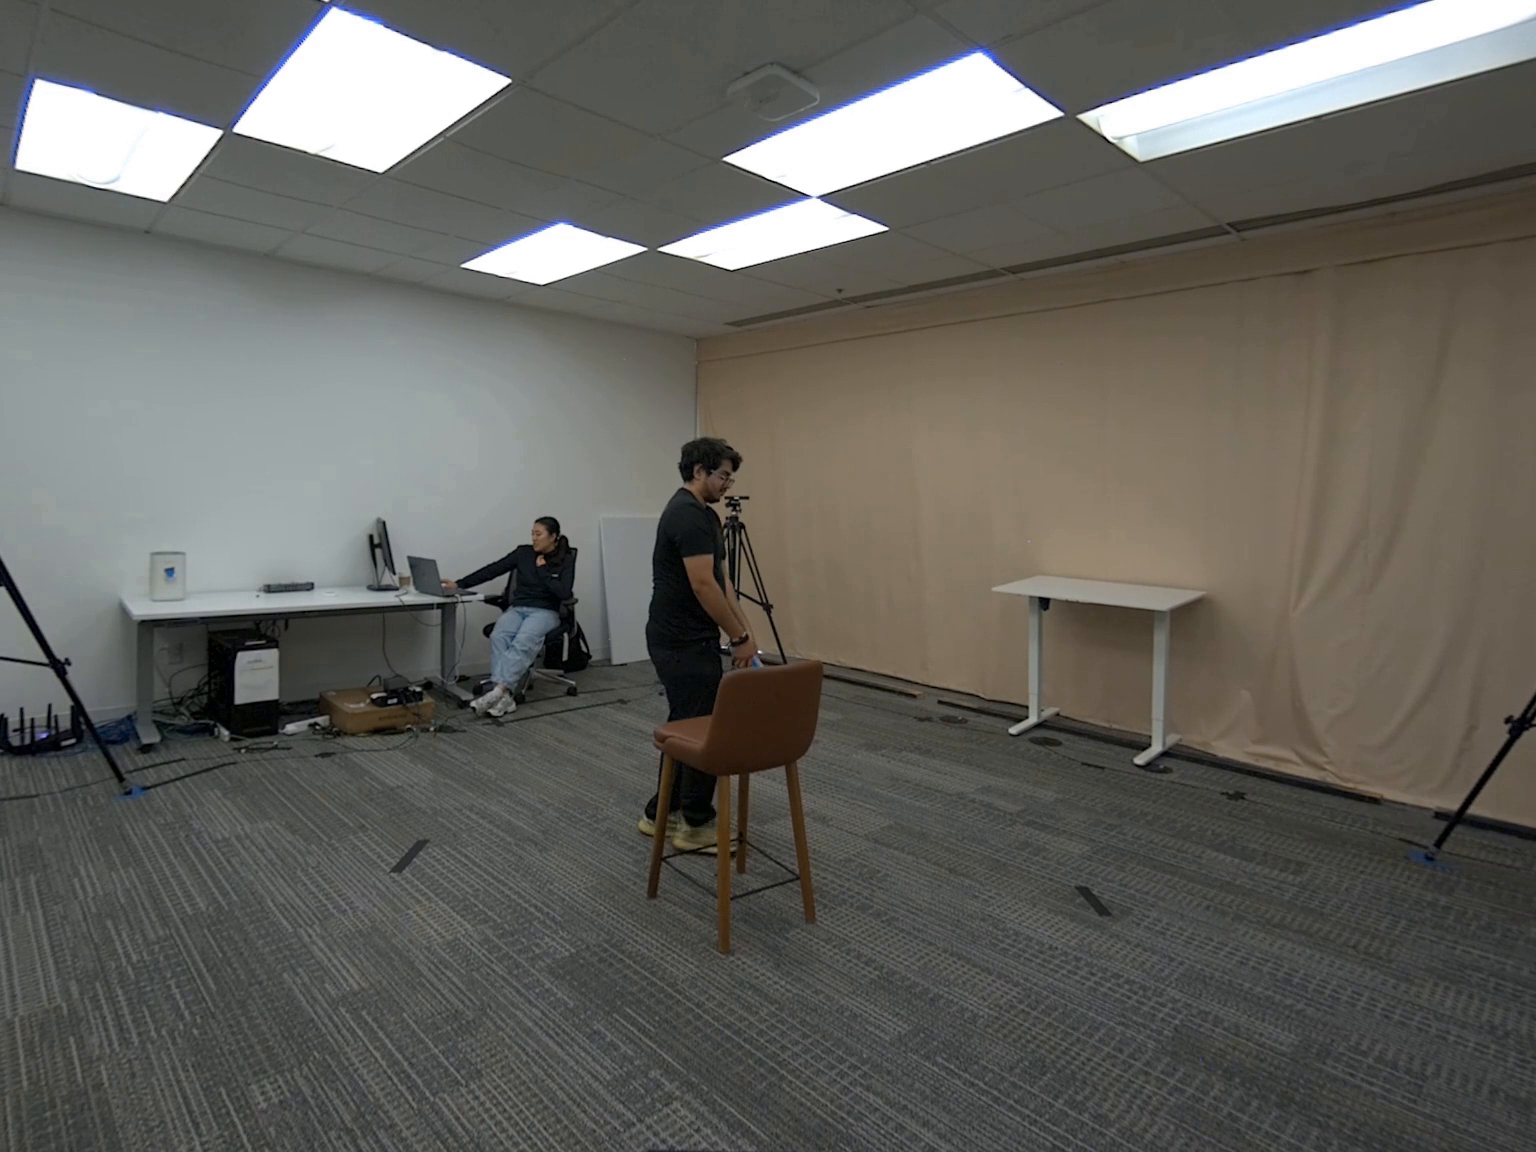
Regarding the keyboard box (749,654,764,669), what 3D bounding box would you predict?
[{"bbox_3d":[-0.005,0.448,3.368,0.059,0.441,0.174,-36,-8,3],"label":"keyboard box"}]
